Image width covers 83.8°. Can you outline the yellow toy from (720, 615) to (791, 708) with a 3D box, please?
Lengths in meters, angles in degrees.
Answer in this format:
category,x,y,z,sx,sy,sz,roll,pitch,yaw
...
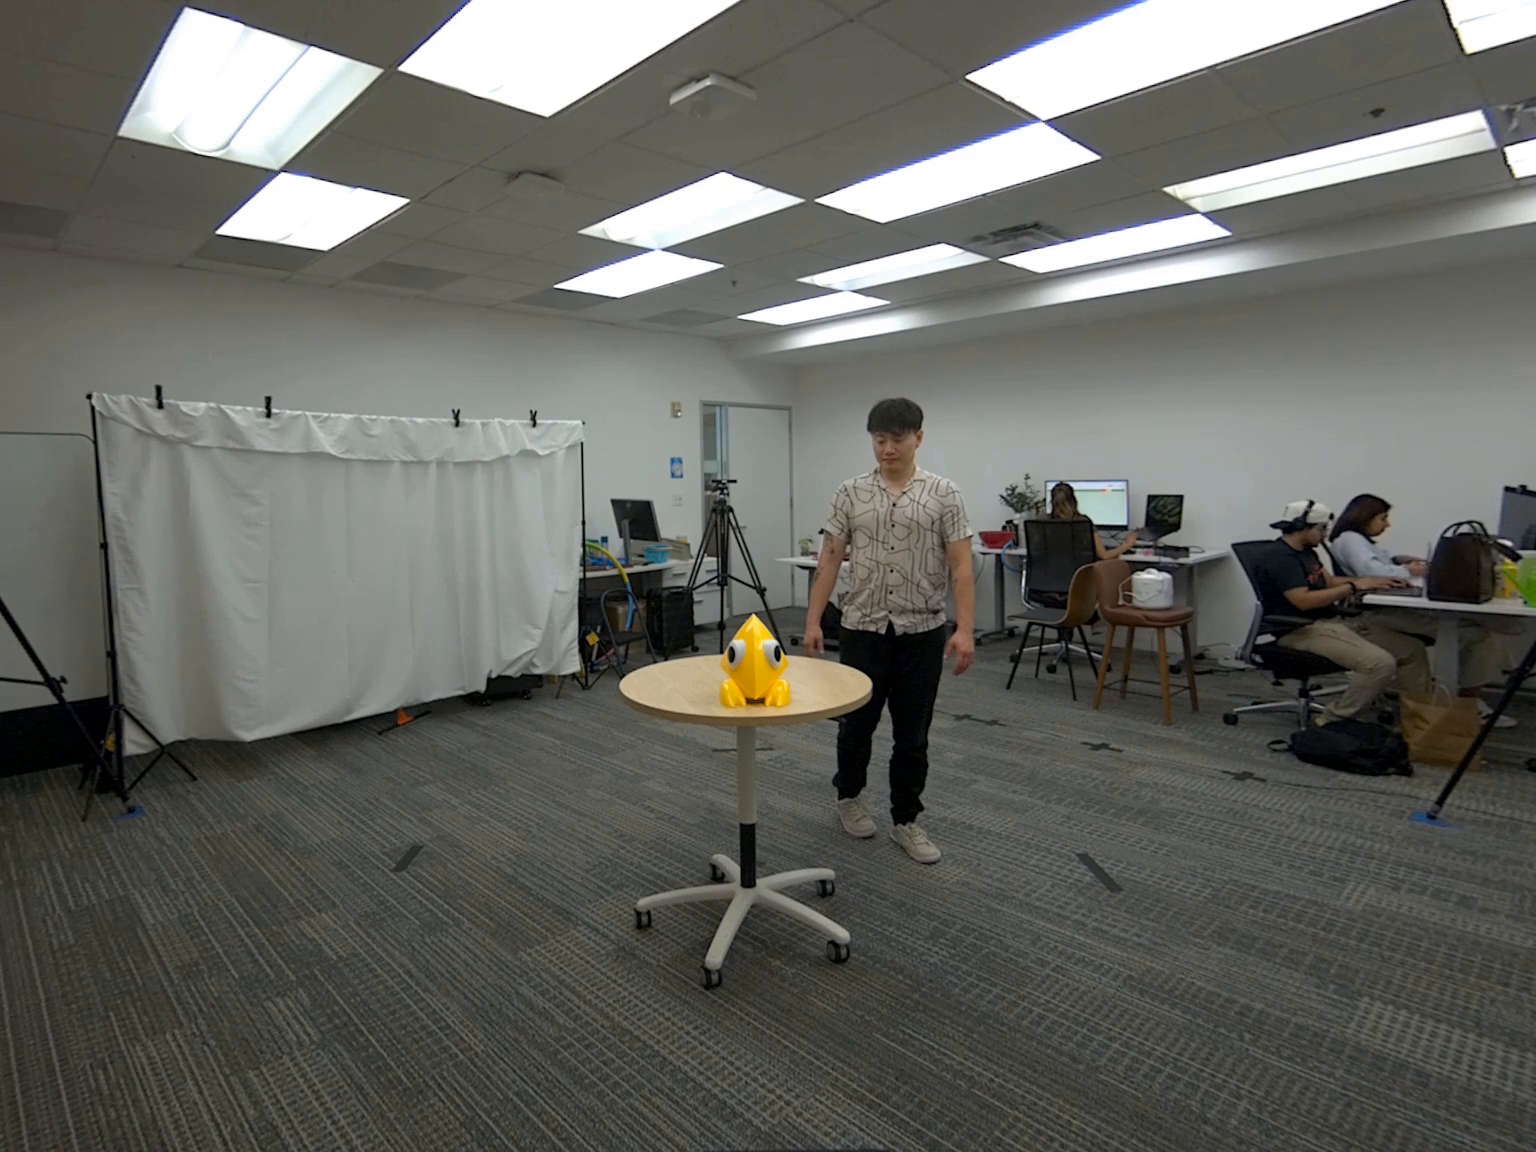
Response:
category,x,y,z,sx,sy,sz,roll,pitch,yaw
yellow toy,-0.032,0.230,2.394,0.205,0.230,0.193,-1,2,-1
